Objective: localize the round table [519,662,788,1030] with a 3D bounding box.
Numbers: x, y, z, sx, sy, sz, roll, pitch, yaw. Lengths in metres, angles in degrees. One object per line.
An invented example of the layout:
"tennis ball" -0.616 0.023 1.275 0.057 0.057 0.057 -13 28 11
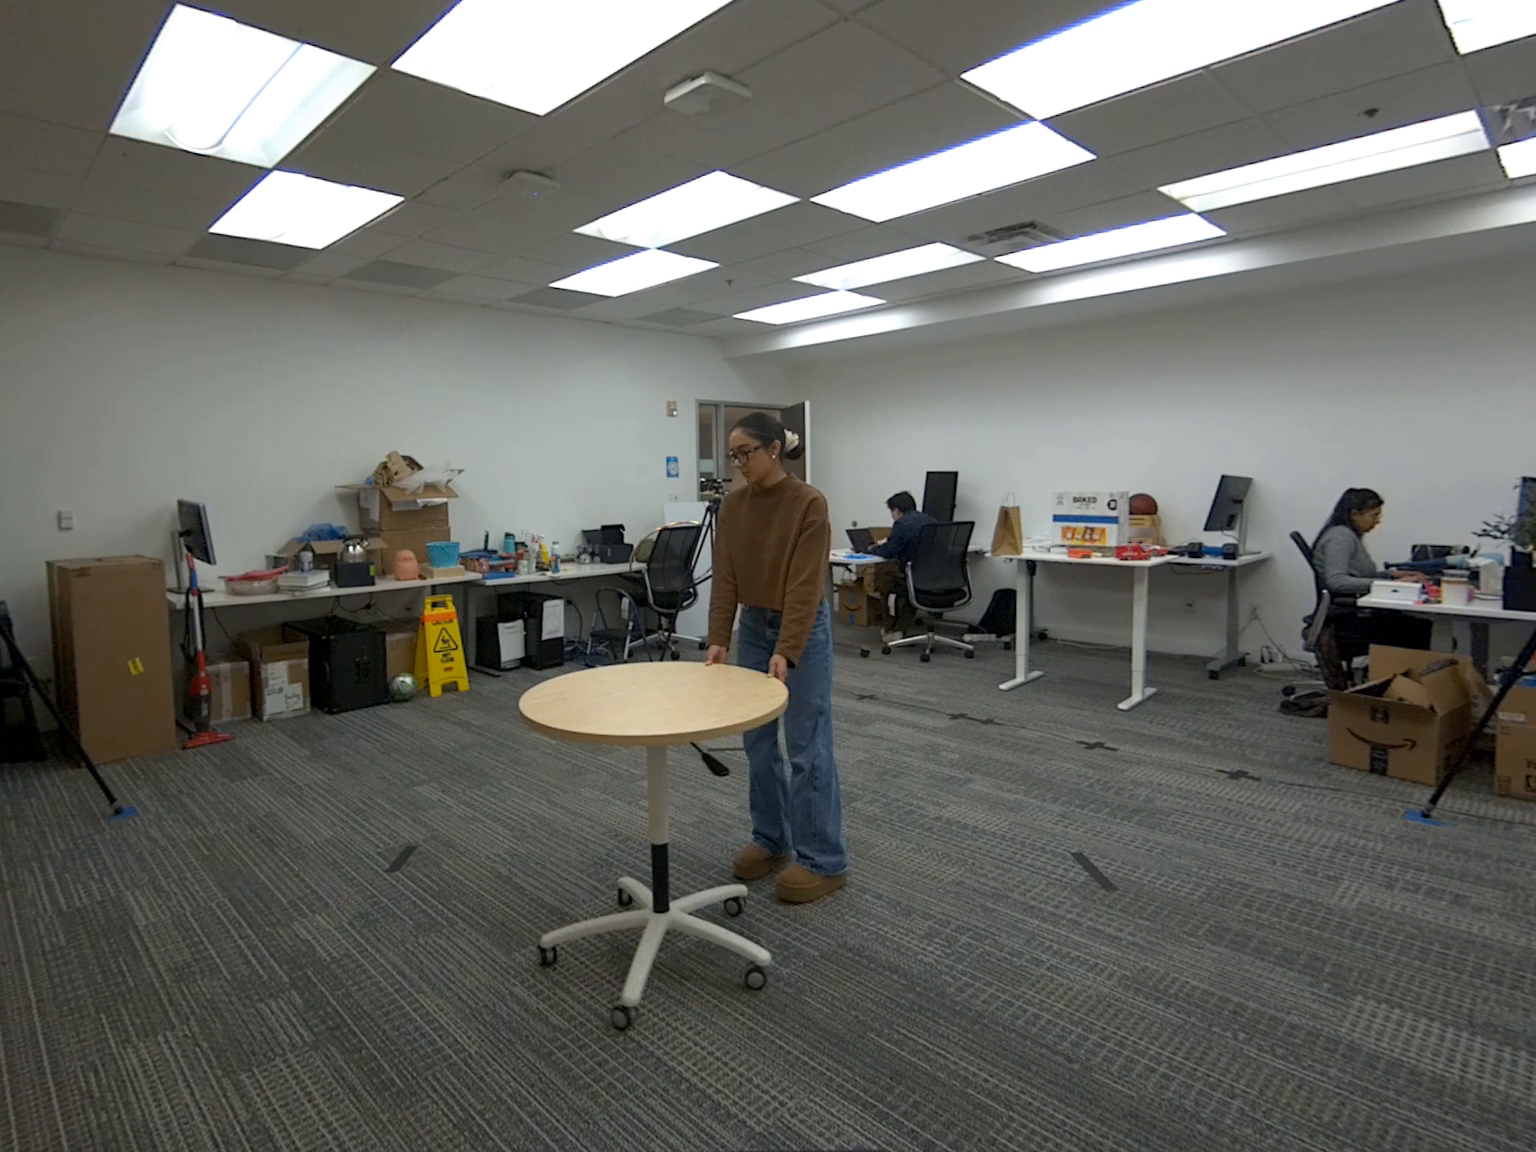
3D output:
"round table" -0.316 0.723 2.516 0.784 0.782 0.790 -1 6 -2
